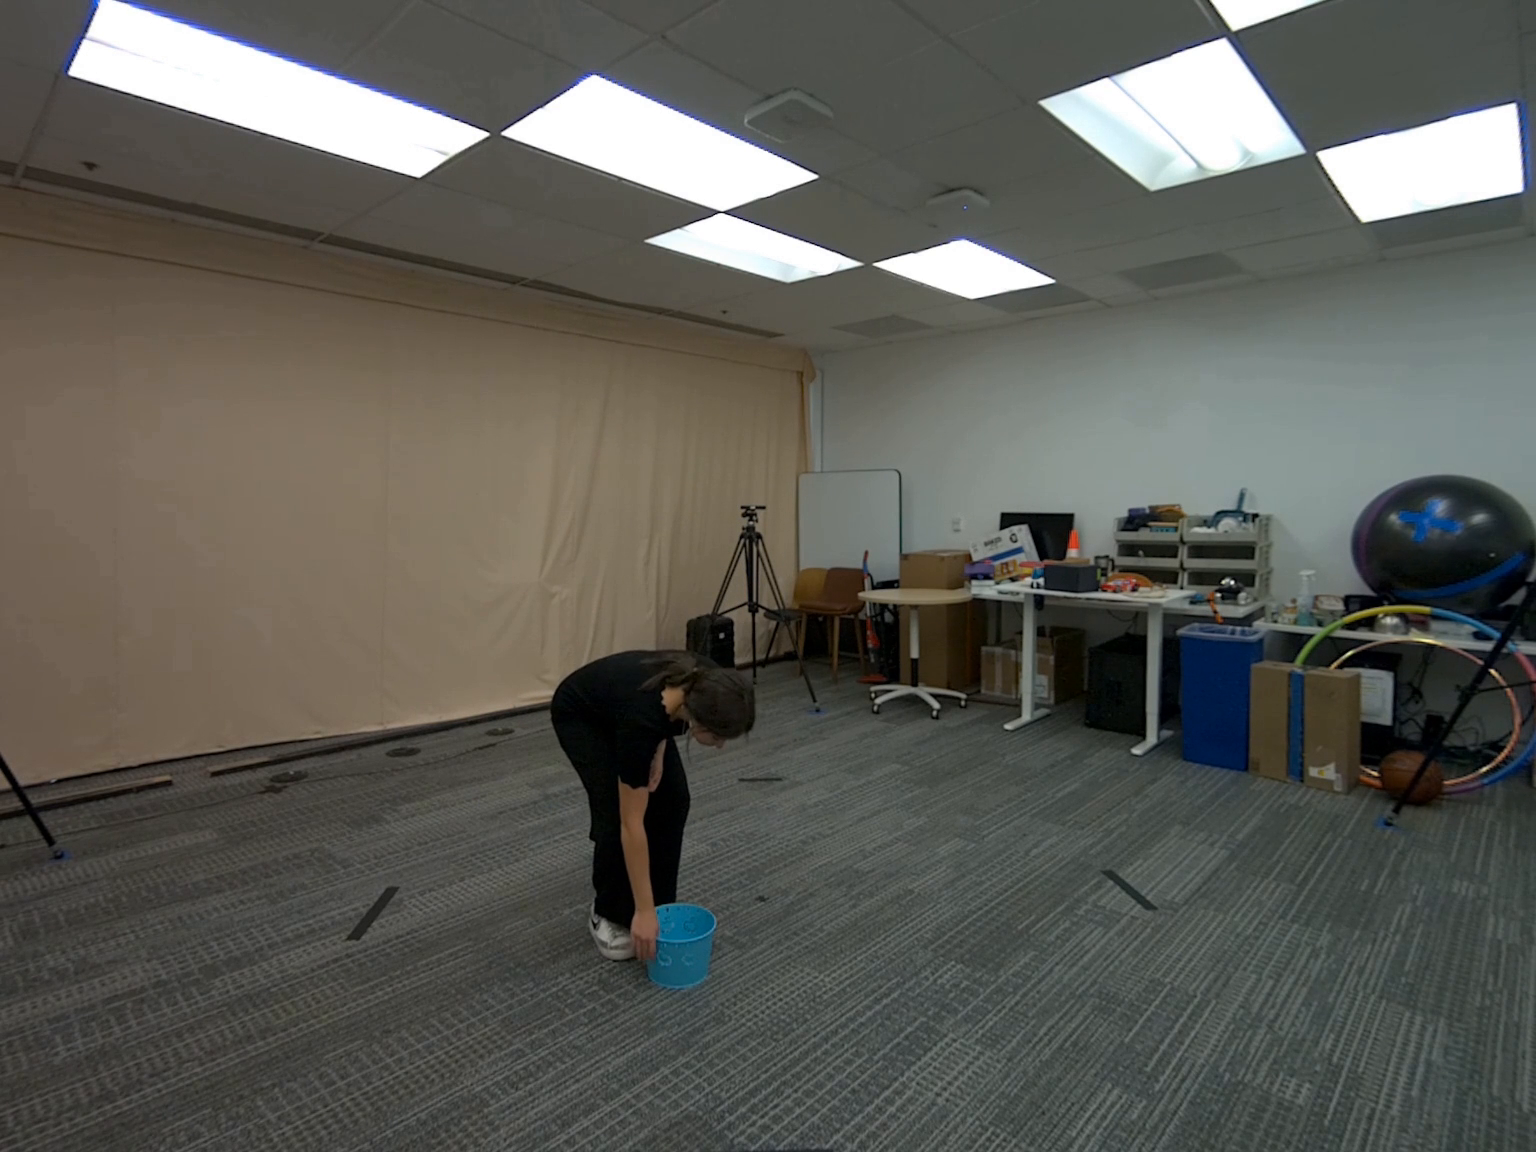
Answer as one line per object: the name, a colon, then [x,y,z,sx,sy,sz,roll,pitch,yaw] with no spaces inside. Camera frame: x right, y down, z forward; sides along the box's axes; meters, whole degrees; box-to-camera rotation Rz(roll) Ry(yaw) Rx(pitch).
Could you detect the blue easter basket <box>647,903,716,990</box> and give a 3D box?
blue easter basket: [-0.269,1.105,2.519,0.243,0.155,0.244,-1,5,-2]
